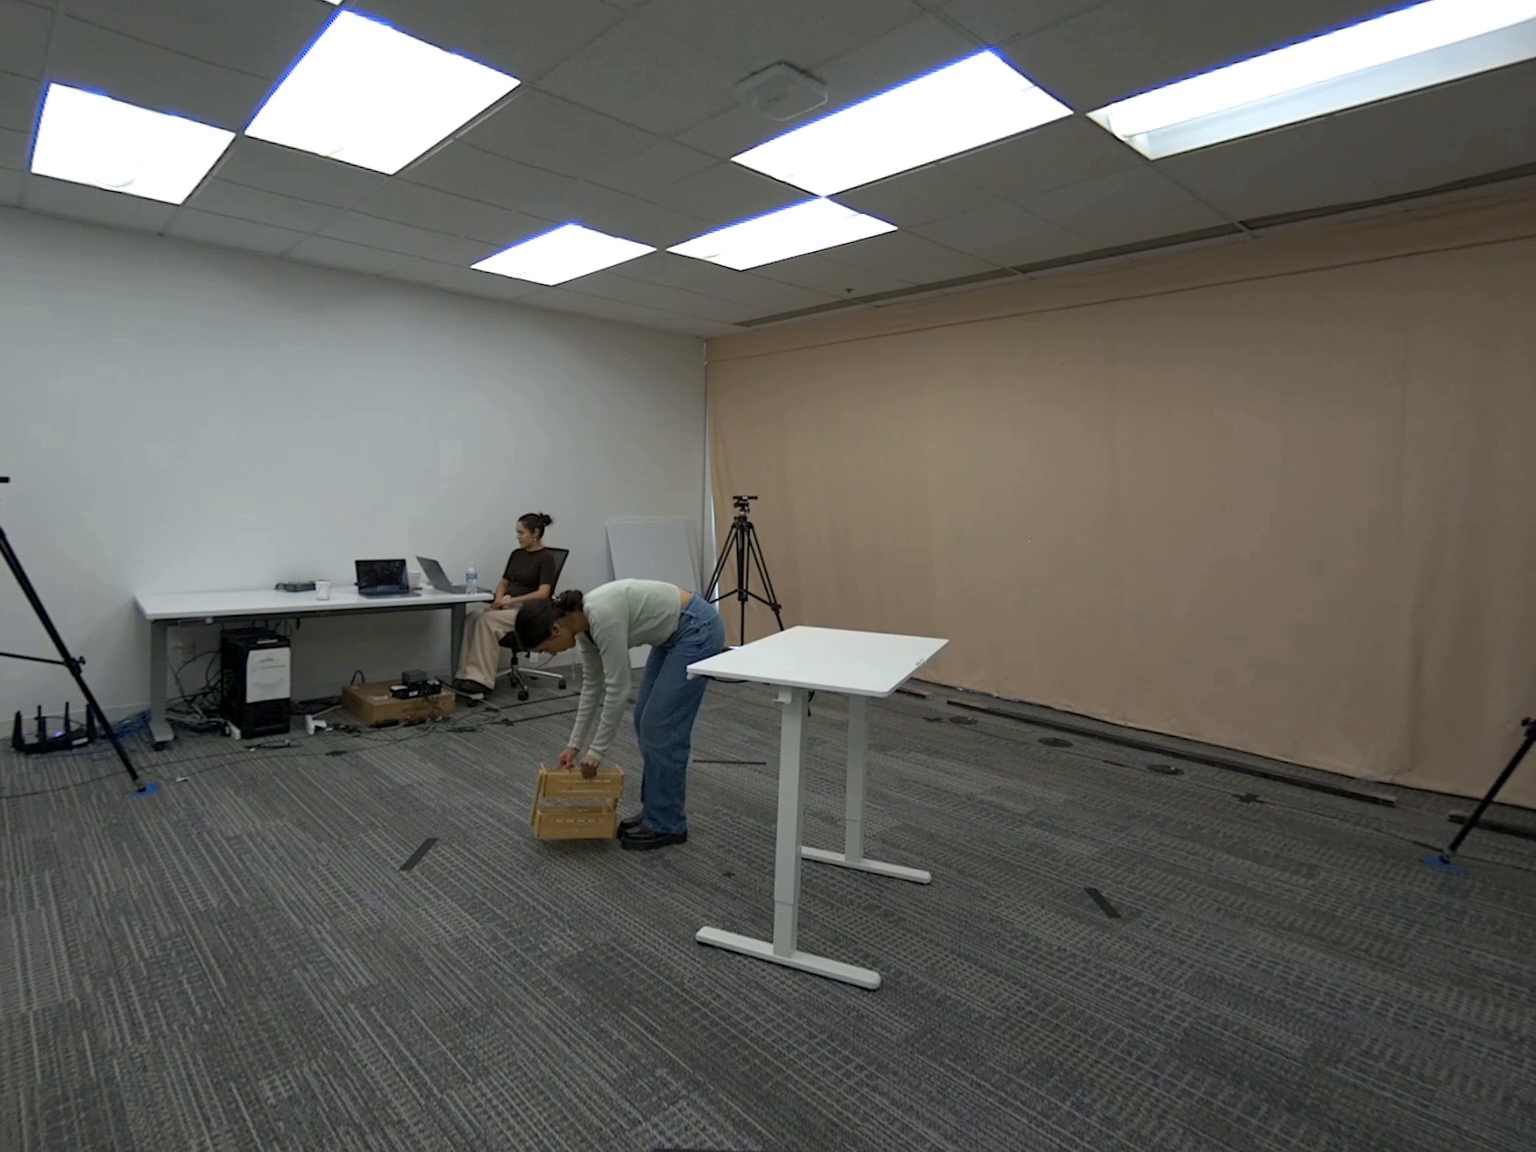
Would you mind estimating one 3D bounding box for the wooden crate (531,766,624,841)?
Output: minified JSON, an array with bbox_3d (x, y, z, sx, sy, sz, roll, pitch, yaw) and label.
[{"bbox_3d":[-0.763,0.859,3.307,0.319,0.273,0.307,6,2,-22],"label":"wooden crate"}]
